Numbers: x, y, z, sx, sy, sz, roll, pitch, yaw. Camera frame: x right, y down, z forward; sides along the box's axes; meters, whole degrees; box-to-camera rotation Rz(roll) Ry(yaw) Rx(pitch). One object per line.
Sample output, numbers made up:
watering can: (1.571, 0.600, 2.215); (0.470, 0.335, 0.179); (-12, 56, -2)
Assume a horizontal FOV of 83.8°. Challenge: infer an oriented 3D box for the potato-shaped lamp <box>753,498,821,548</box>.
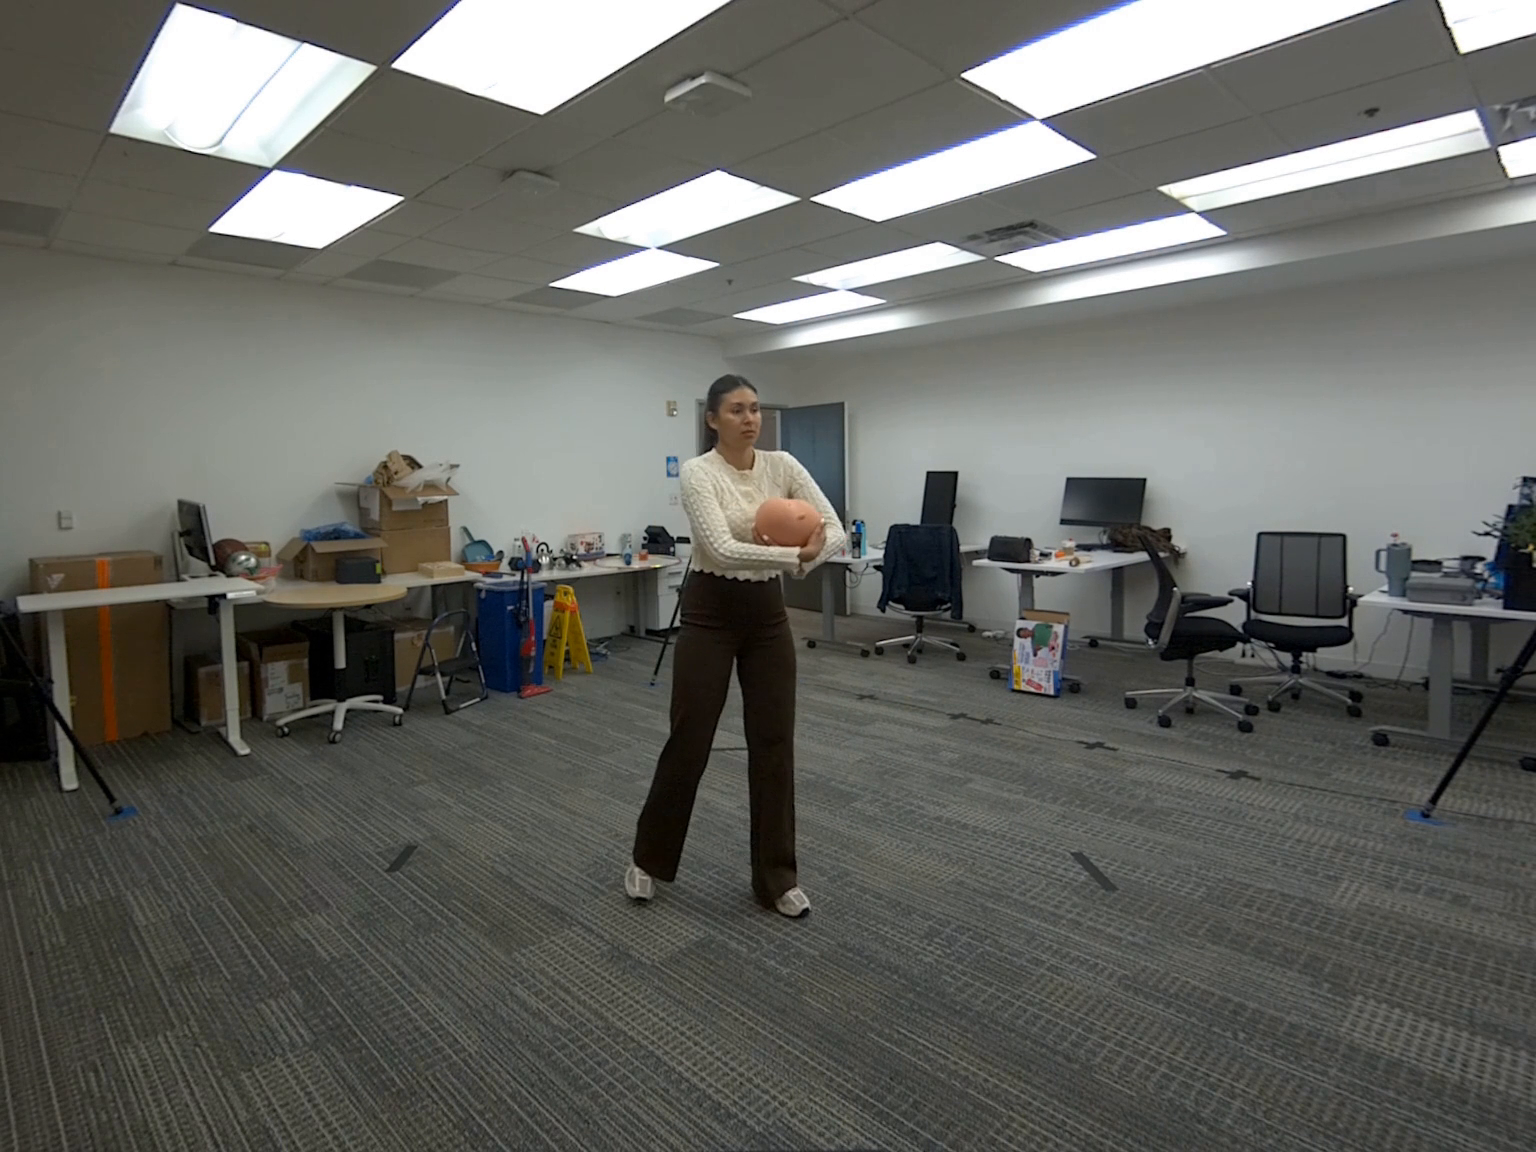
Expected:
potato-shaped lamp: (0.035, -0.154, 2.620); (0.191, 0.171, 0.170); (28, 13, -31)
